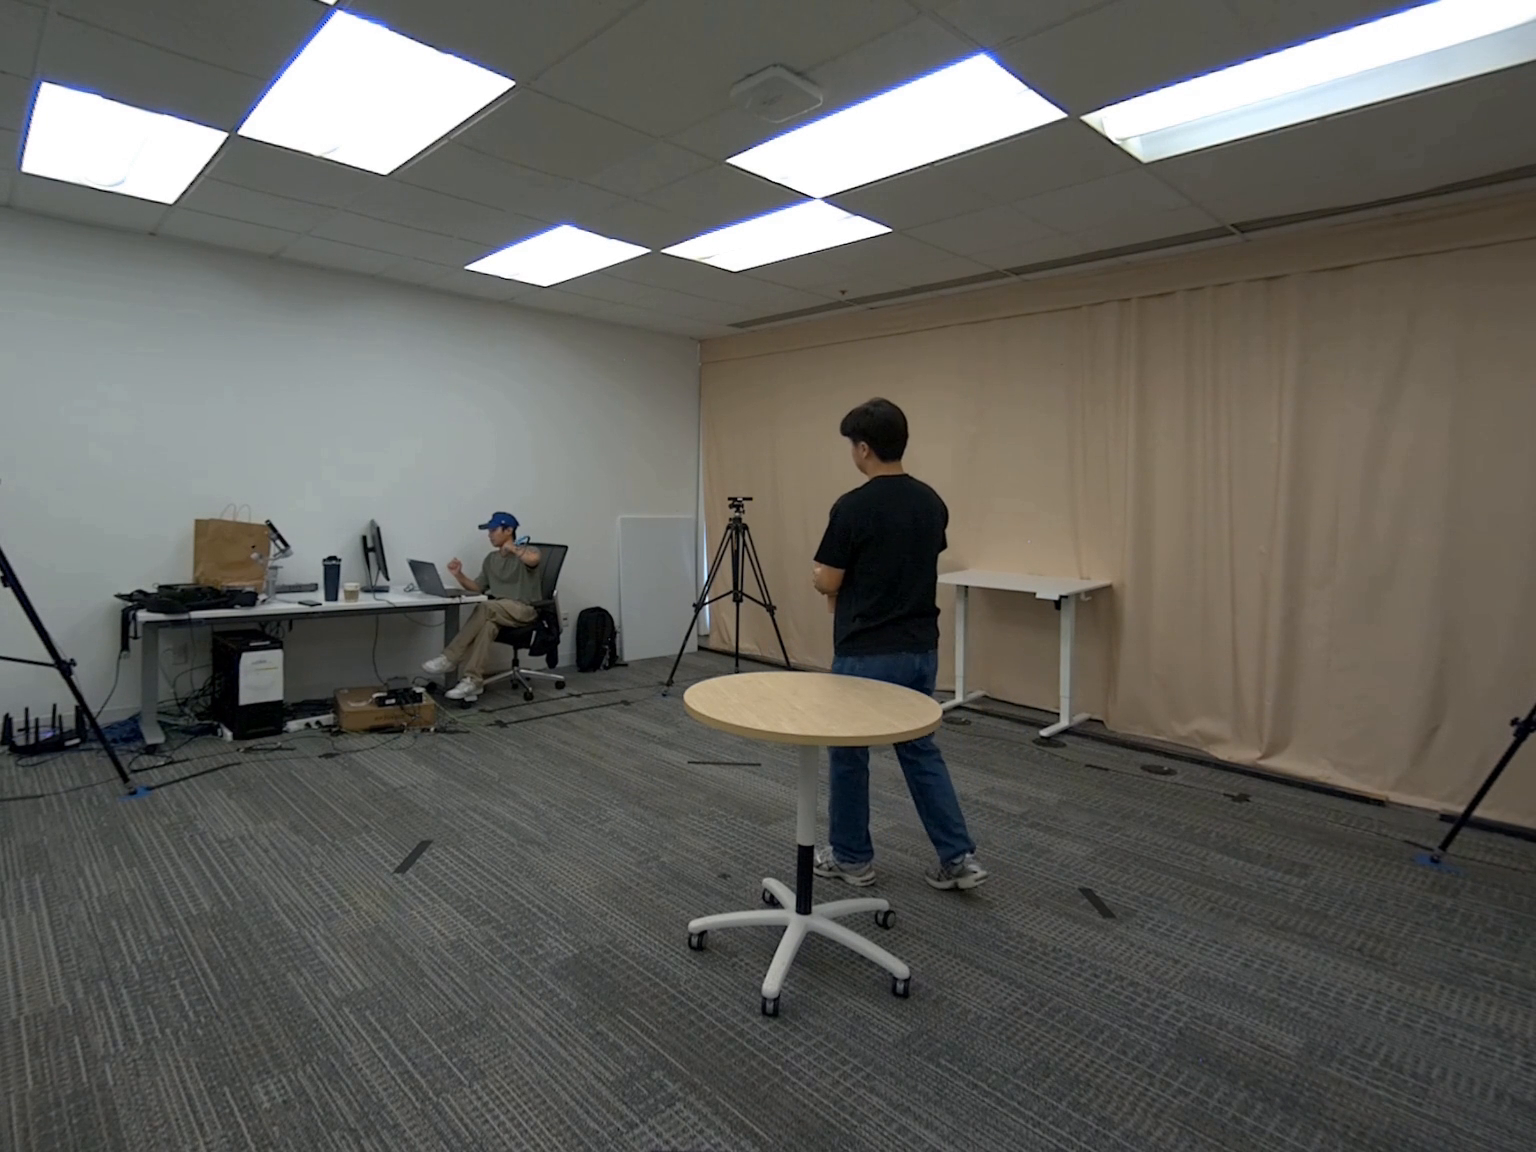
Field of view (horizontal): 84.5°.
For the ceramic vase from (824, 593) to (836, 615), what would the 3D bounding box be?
[{"bbox_3d":[0.286,0.036,3.406,0.137,0.218,0.157,-3,13,36],"label":"ceramic vase"}]
